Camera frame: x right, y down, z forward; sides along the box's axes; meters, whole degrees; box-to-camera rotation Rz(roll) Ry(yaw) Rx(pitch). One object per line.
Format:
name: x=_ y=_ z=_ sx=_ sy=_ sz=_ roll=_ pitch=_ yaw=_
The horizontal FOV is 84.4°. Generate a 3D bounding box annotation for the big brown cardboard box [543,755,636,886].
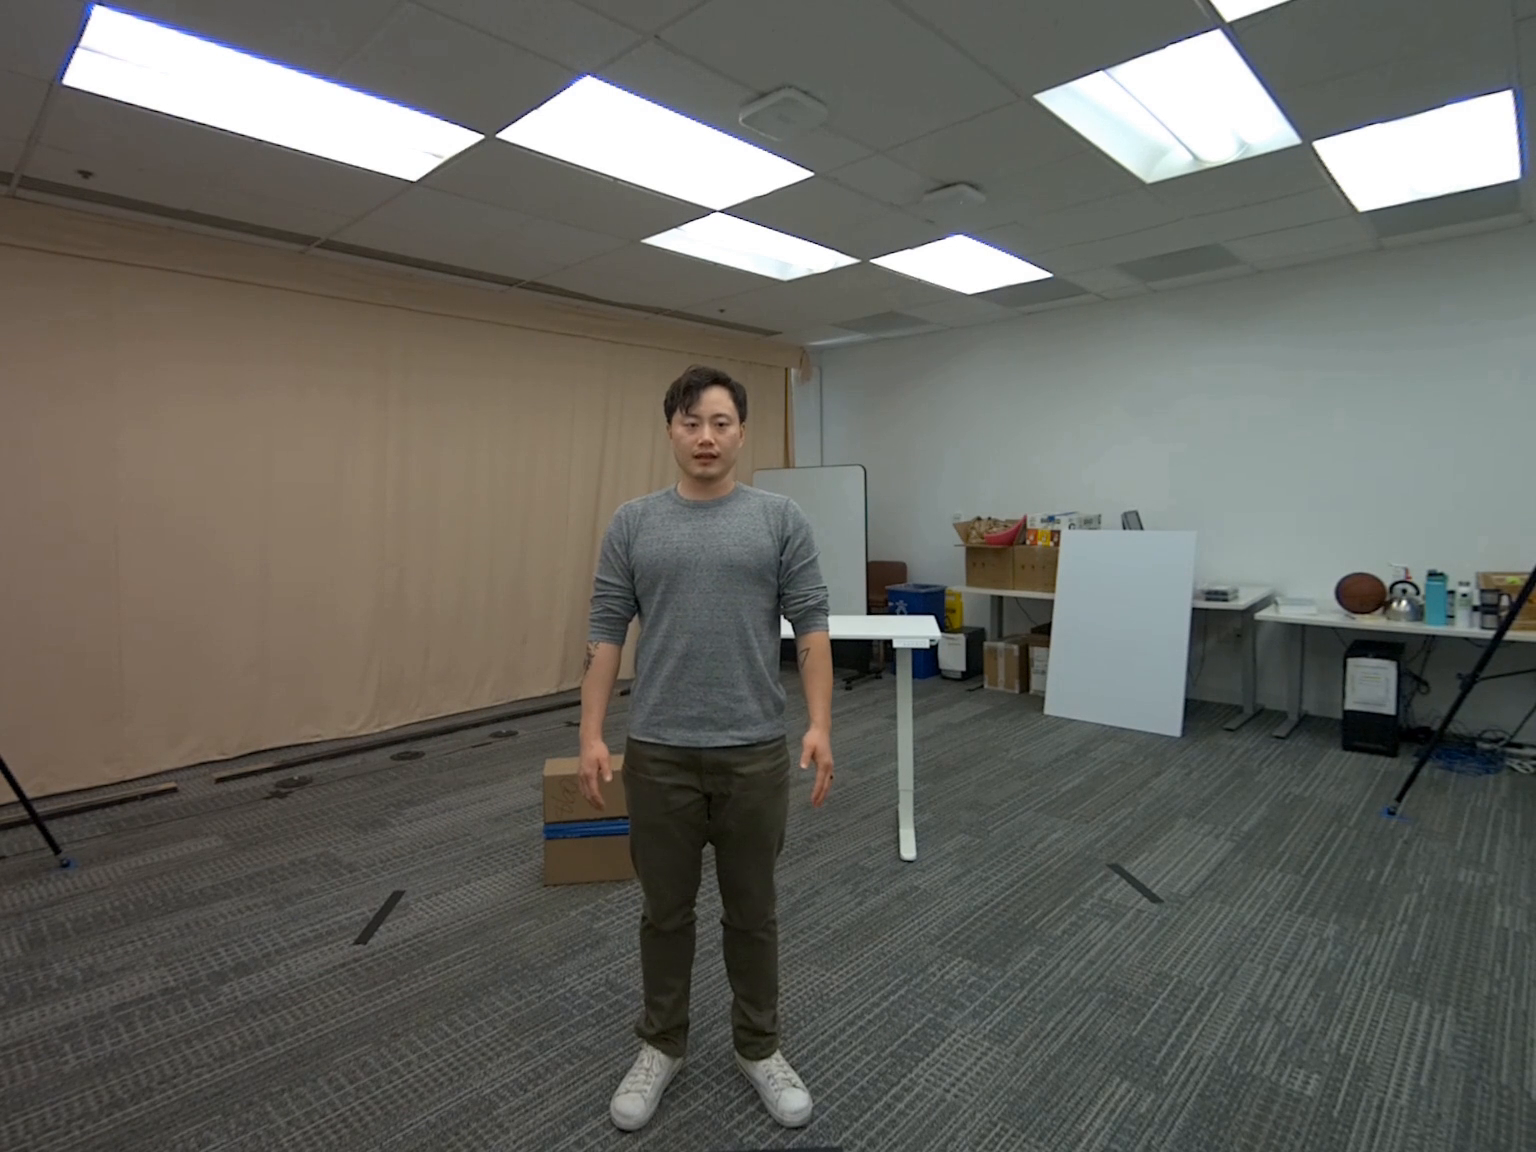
big brown cardboard box: x=-0.569 y=0.921 z=3.239 sx=0.585 sy=0.417 sz=0.235 roll=-2 pitch=2 yaw=-7
